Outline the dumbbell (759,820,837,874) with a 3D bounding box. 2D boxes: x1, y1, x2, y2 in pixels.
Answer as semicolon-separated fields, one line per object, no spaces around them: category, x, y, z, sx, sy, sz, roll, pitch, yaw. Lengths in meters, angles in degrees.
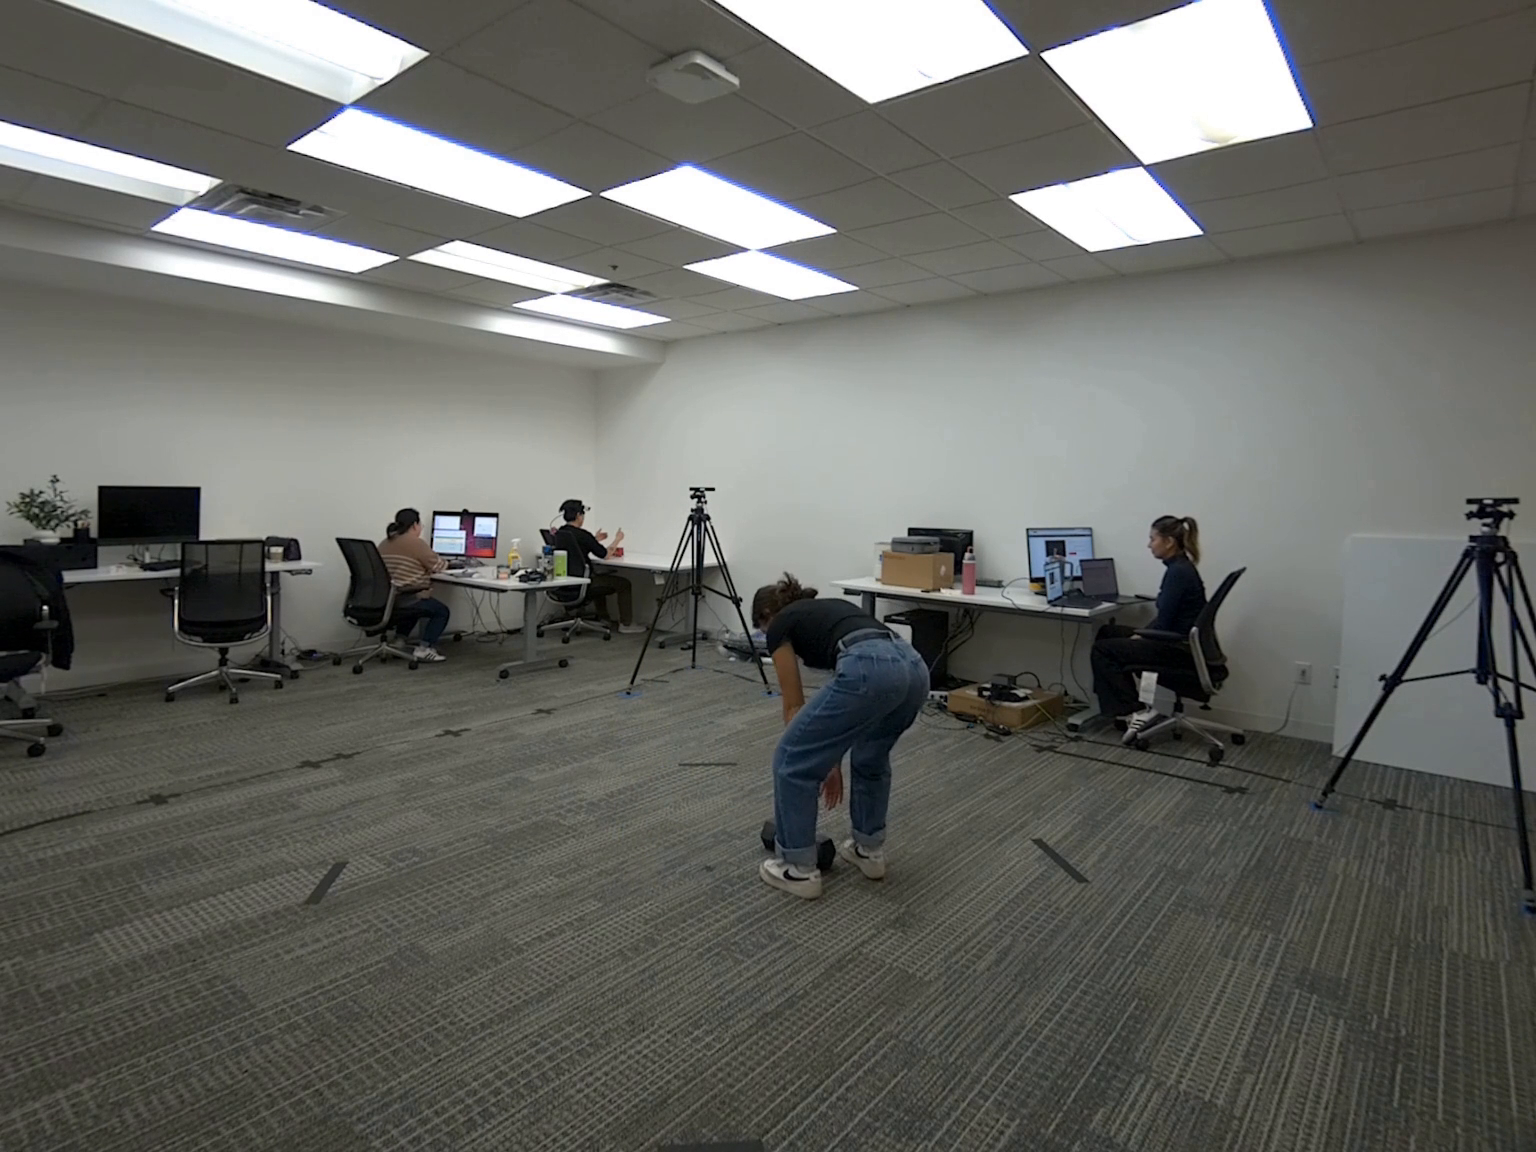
dumbbell;0.101;1.006;3.220;0.304;0.124;0.104;8;-24;44
